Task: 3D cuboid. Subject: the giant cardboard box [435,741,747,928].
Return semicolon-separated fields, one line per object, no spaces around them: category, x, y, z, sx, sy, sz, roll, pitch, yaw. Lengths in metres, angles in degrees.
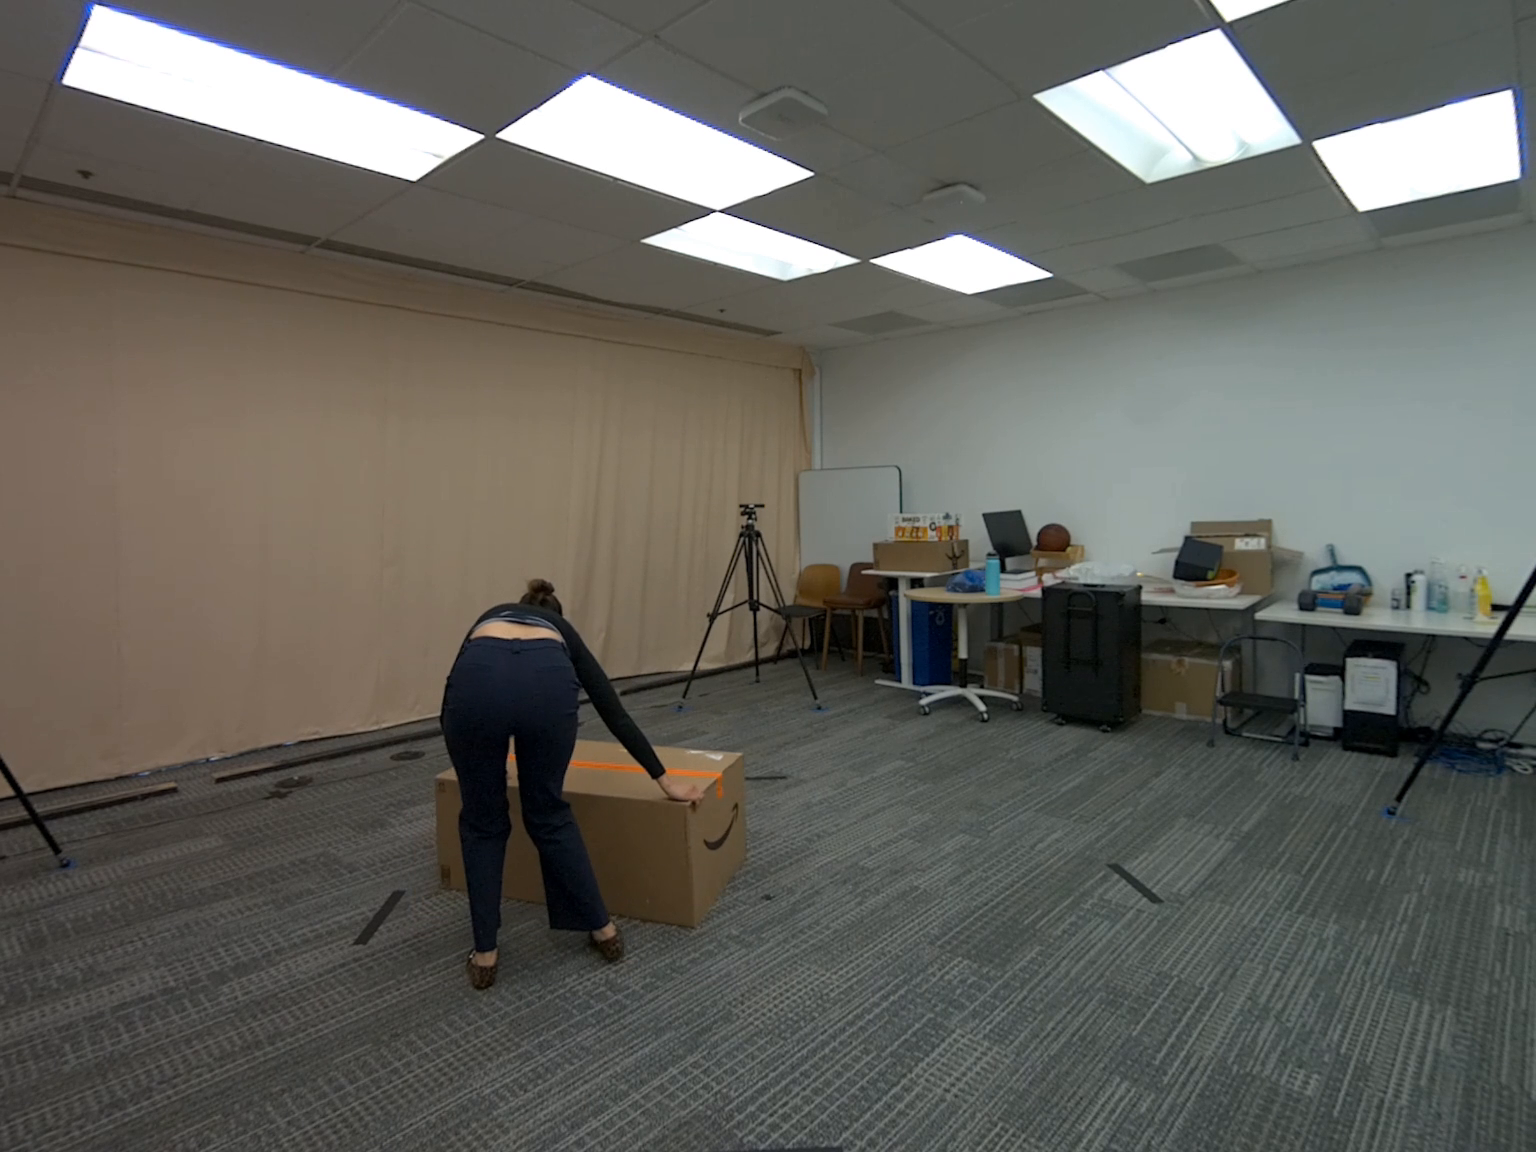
giant cardboard box;-0.654;0.920;3.205;1.047;0.425;0.568;0;6;19
